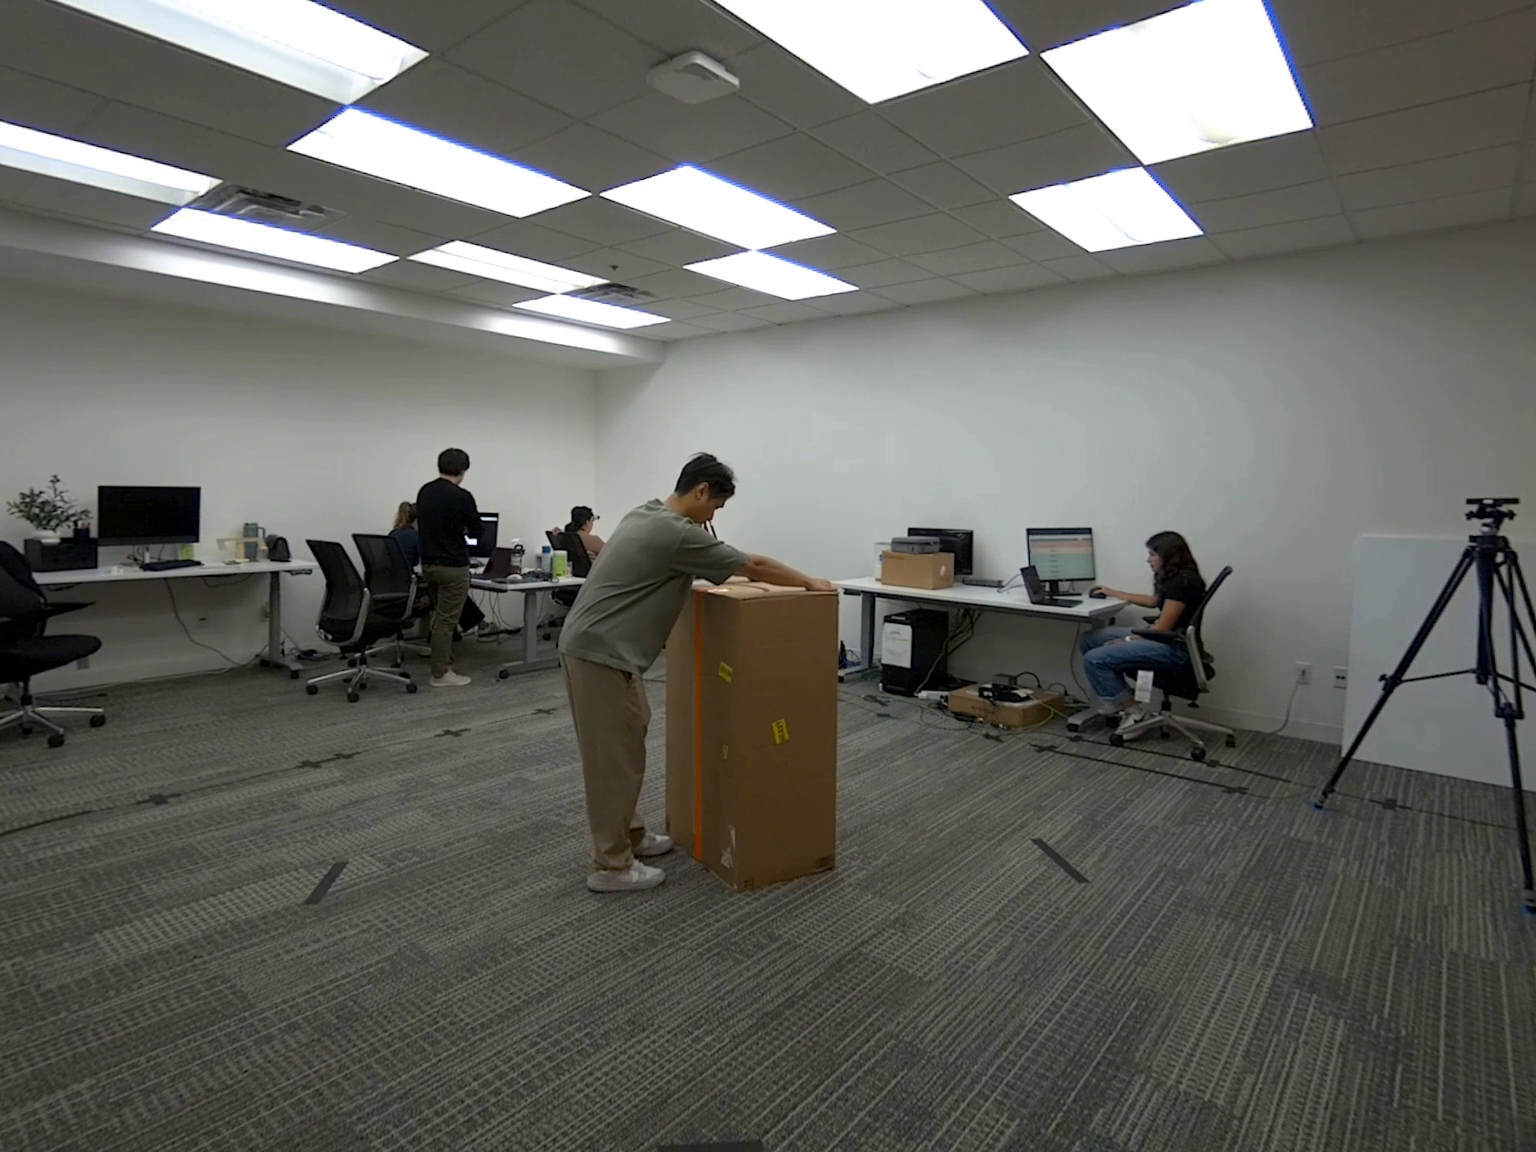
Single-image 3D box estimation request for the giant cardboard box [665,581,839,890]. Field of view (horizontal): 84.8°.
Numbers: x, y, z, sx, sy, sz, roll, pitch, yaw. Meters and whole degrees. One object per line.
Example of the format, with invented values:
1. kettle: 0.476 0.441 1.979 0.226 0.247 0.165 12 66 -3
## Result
1. giant cardboard box: -0.083 0.544 3.248 0.415 1.022 0.595 -2 4 -31
